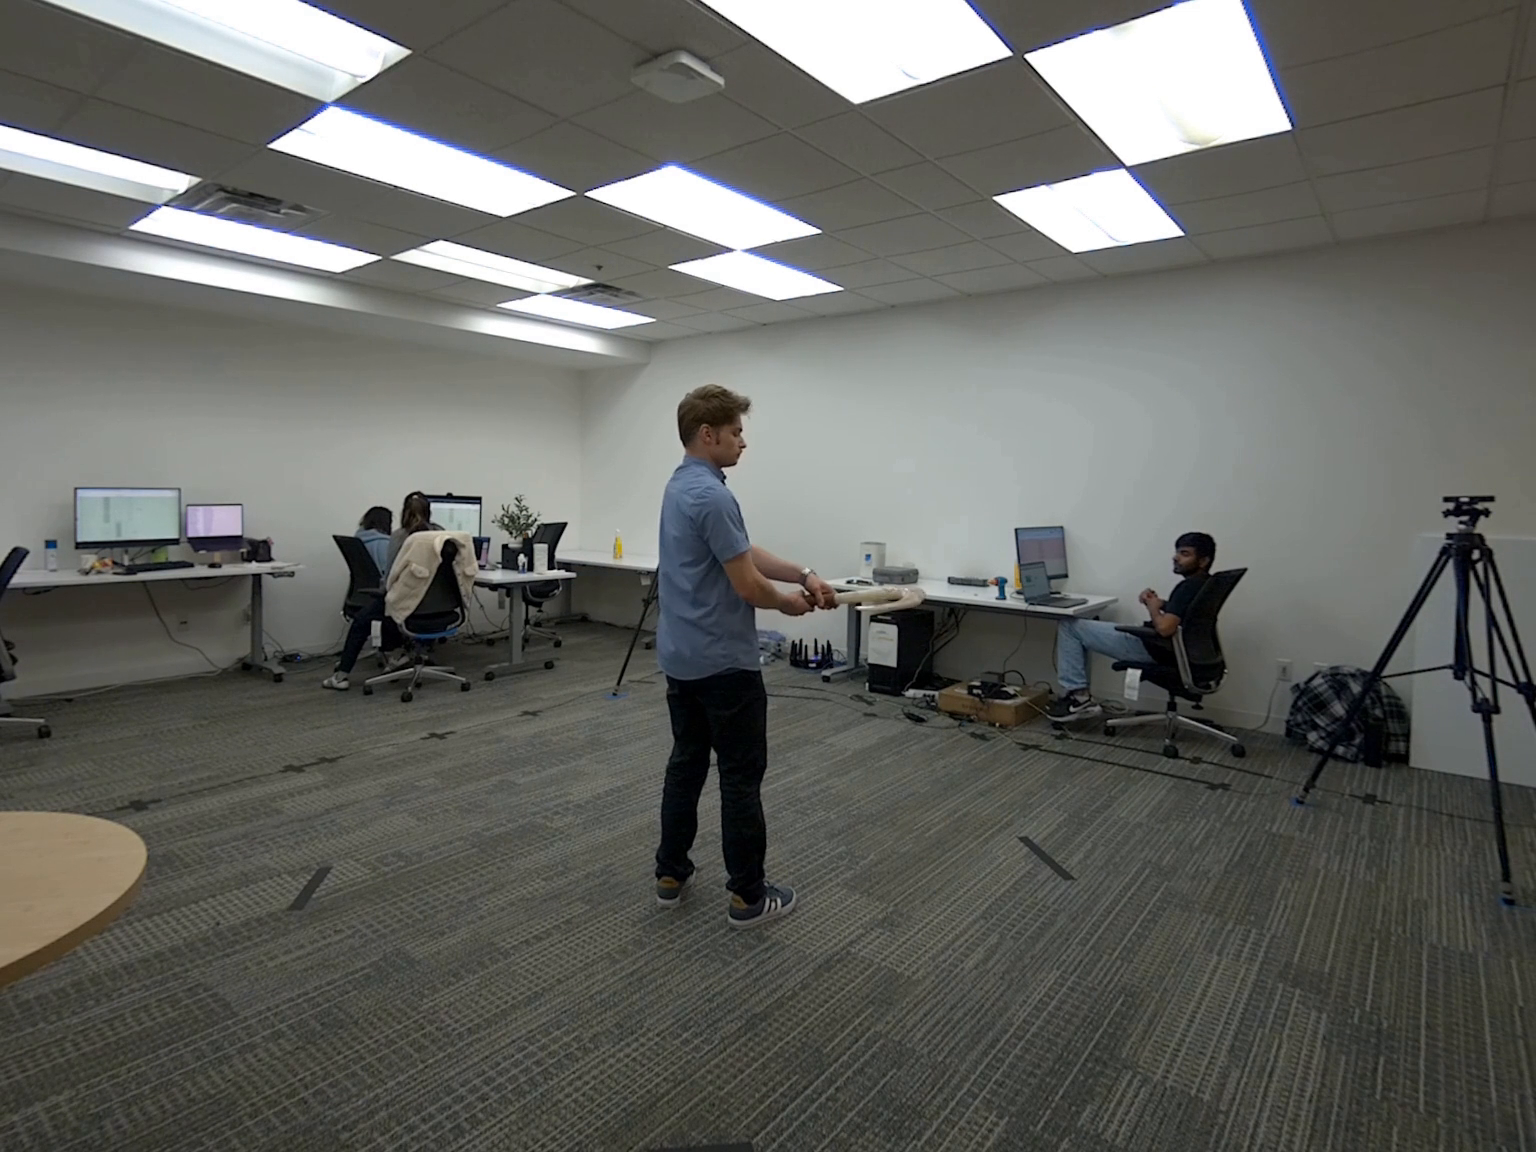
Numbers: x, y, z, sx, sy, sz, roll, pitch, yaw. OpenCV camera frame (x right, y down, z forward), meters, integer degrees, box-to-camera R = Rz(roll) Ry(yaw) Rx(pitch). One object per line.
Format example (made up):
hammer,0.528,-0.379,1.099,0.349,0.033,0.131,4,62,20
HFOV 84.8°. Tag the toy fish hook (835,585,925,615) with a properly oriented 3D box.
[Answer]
toy fish hook,0.232,0.085,2.781,0.516,0.048,0.222,-6,8,21
